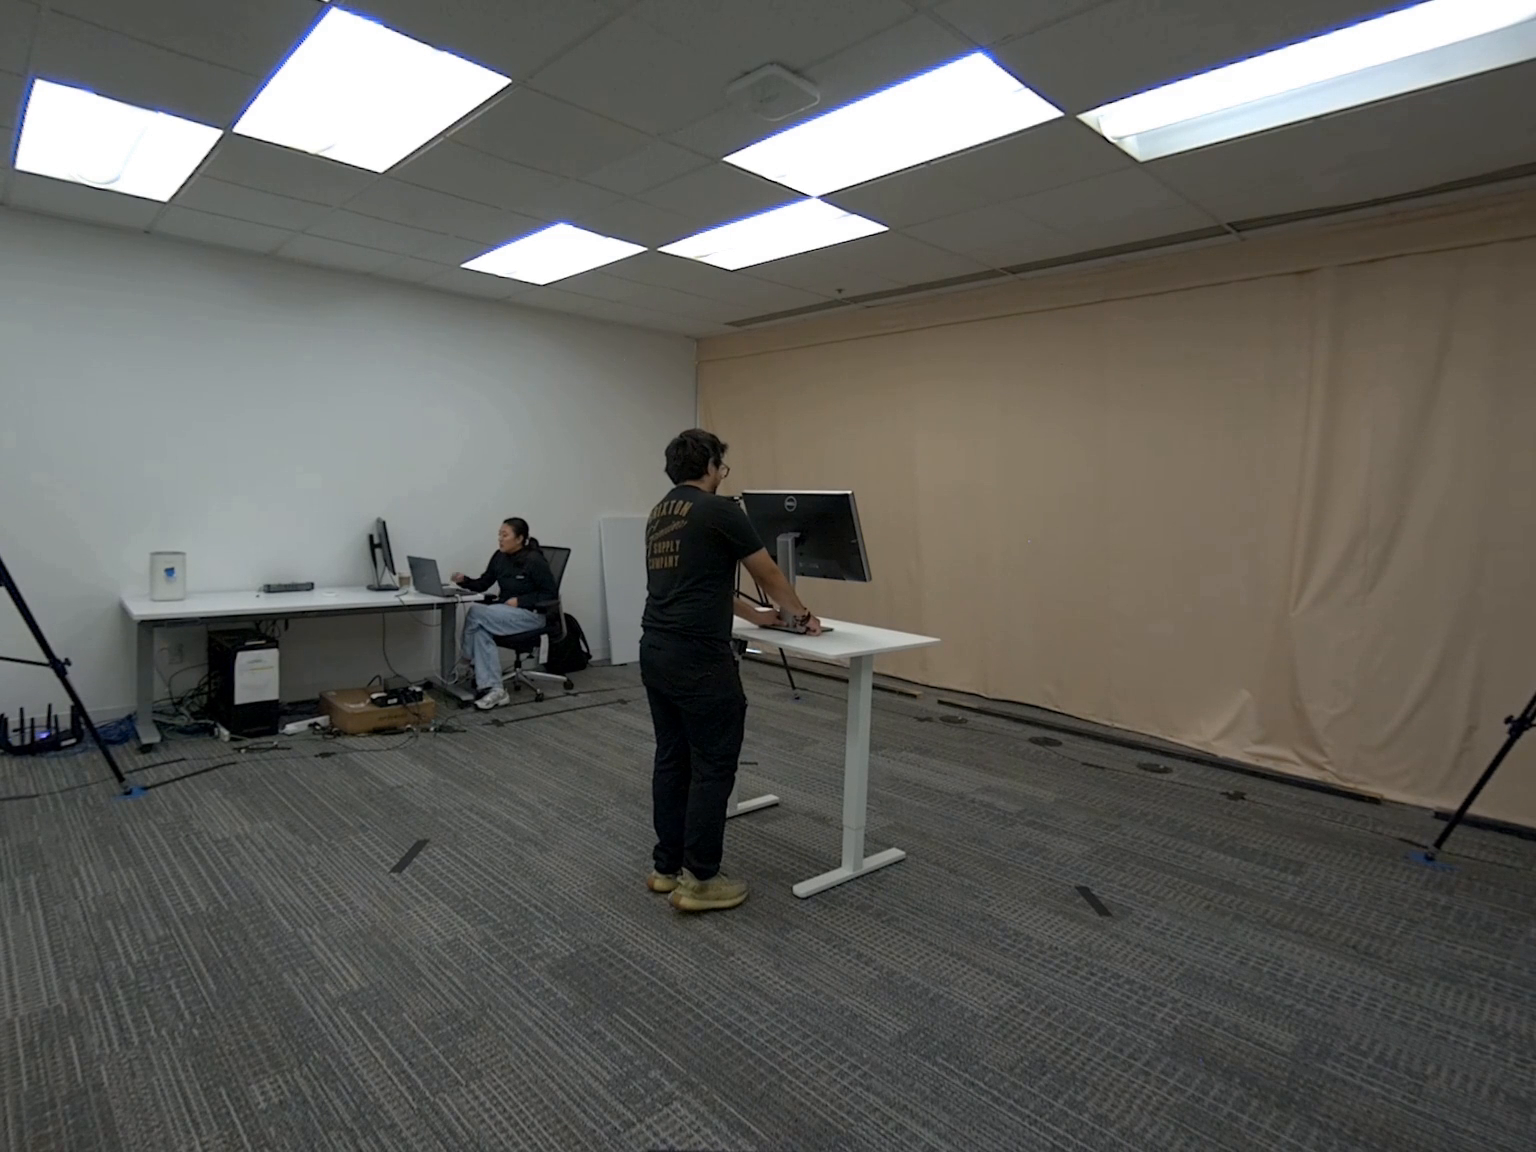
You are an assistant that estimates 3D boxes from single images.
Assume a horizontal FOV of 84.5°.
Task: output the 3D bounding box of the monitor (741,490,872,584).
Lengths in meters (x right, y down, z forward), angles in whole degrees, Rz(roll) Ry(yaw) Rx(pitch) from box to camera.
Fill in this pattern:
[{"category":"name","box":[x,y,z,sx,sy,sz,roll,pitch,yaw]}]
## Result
[{"category":"monitor","box":[0.095,-0.059,3.287,0.580,0.548,0.207,5,17,44]}]
